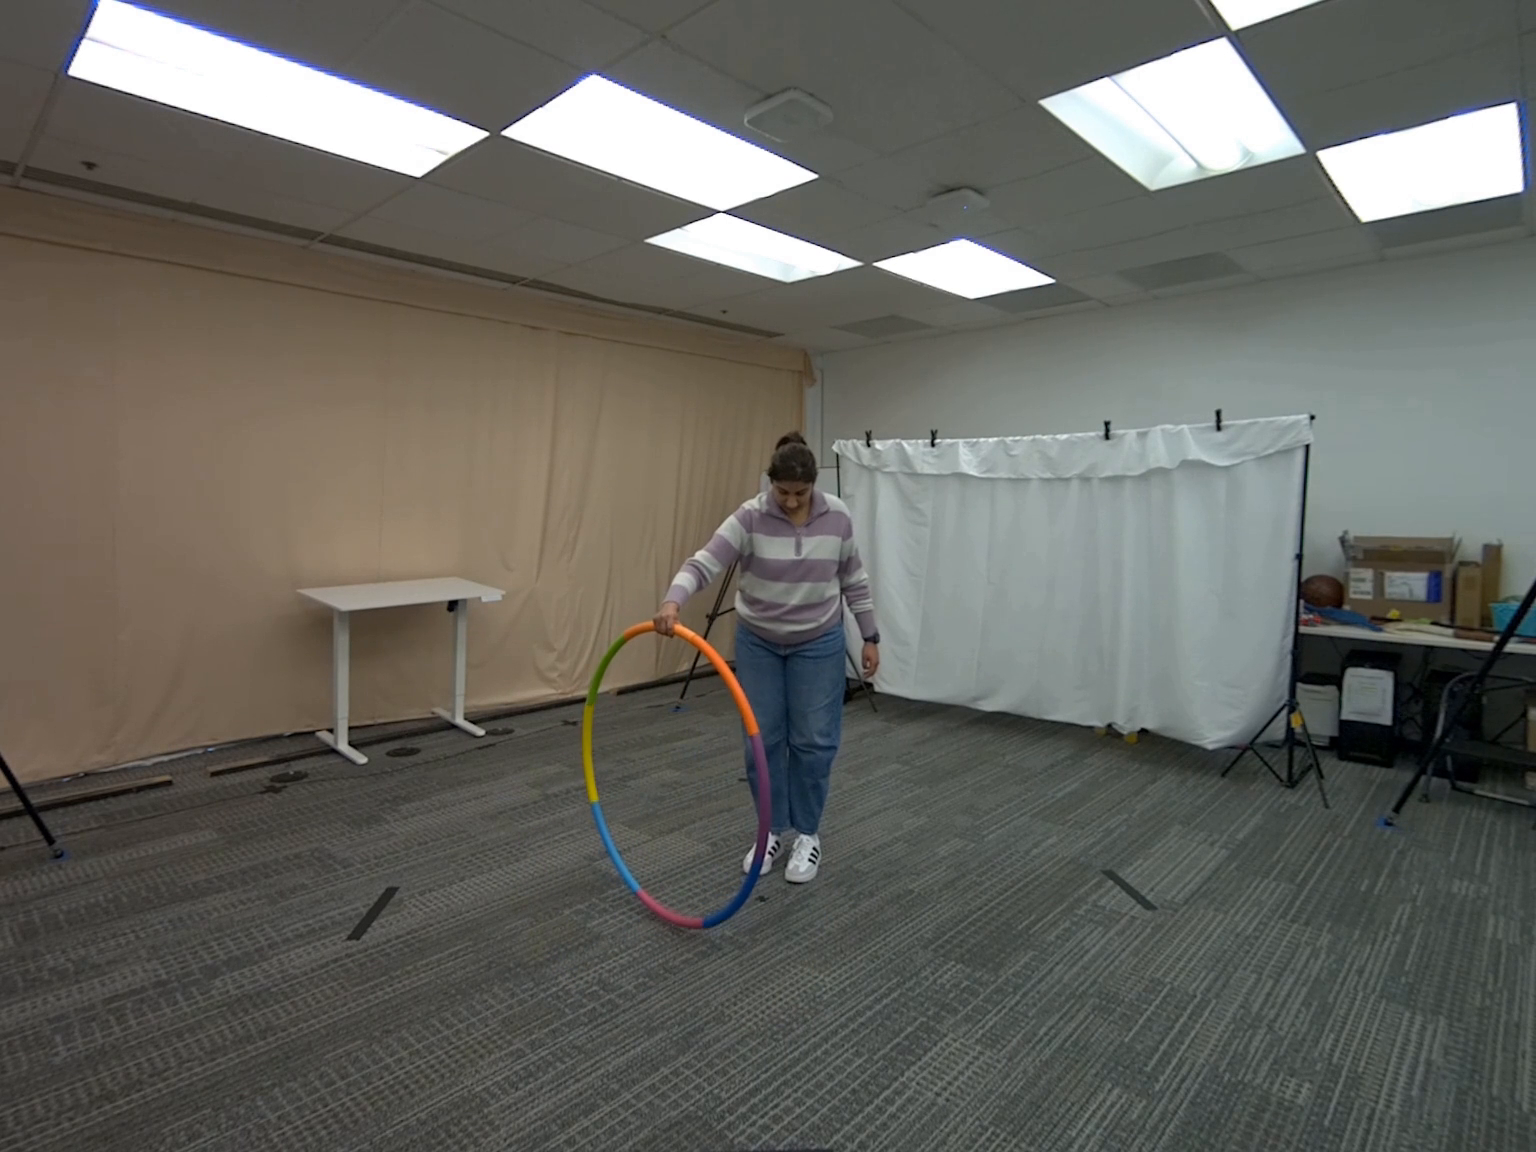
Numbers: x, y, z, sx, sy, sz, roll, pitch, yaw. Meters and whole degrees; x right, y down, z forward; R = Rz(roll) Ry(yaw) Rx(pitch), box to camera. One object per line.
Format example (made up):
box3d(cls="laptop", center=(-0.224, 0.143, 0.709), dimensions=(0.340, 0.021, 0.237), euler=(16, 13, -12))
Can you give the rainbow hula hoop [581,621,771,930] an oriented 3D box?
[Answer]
box3d(cls="rainbow hula hoop", center=(-0.339, 0.646, 2.785), dimensions=(0.034, 0.977, 1.011), euler=(-1, 4, -43))
